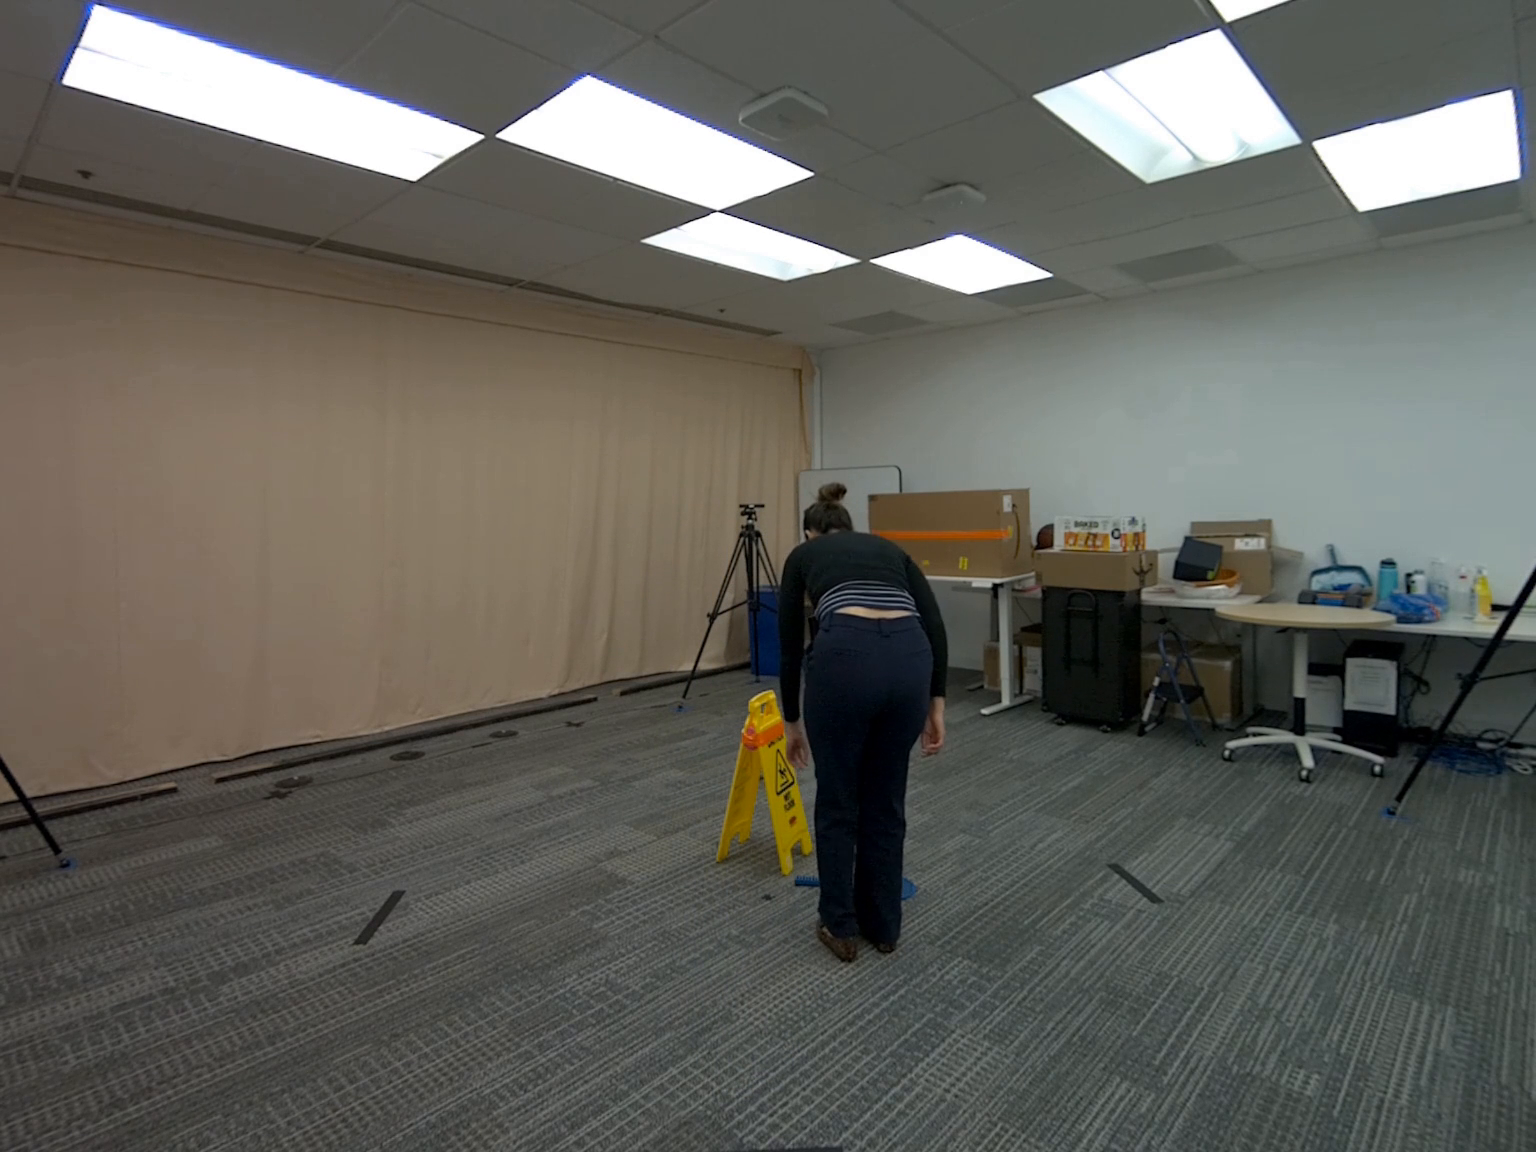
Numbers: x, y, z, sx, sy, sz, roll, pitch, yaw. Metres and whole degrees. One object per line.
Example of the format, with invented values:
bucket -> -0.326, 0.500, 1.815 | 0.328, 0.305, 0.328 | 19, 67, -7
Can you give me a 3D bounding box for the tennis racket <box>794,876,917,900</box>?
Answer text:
tennis racket -> 0.320, 1.111, 3.044 | 0.436, 0.032, 0.213 | 1, 5, 5
